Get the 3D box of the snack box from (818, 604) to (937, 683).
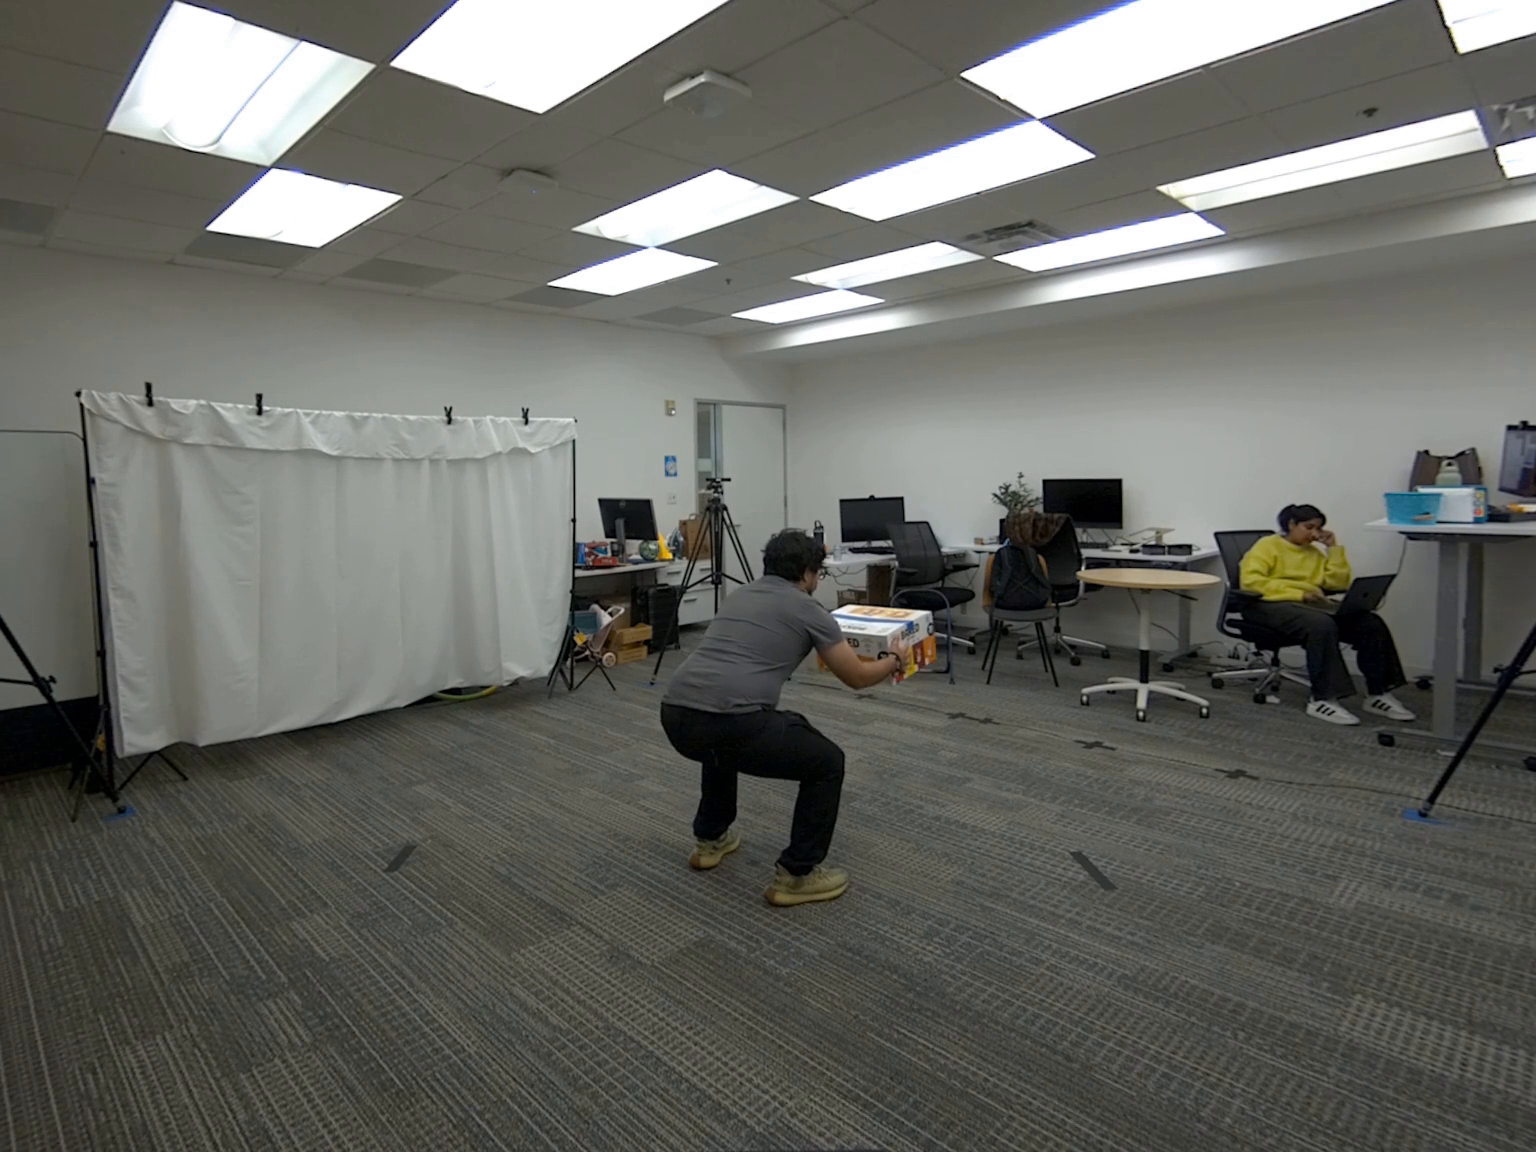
[{"bbox_3d":[0.412,0.272,3.462,0.417,0.204,0.334,2,14,41],"label":"snack box"}]
